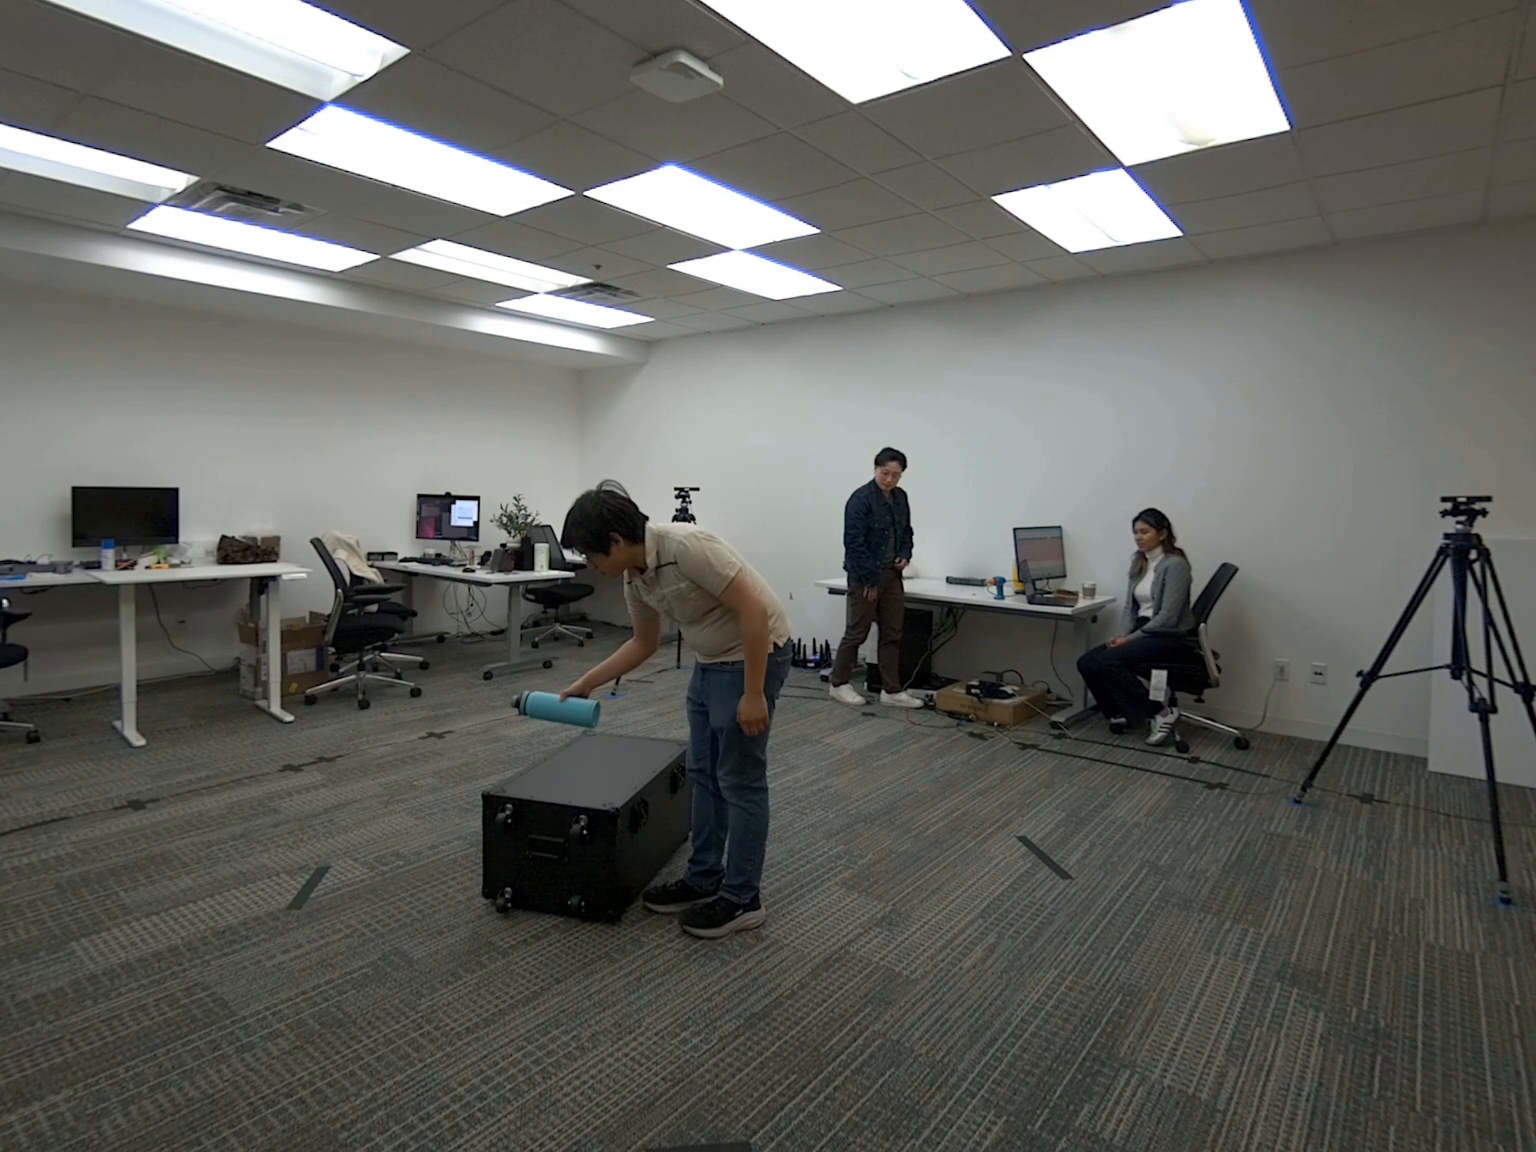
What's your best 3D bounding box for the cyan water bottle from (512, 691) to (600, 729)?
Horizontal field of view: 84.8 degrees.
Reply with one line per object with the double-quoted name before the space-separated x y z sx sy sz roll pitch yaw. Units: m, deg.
"cyan water bottle" -0.711 0.432 2.789 0.286 0.092 0.092 7 5 8
